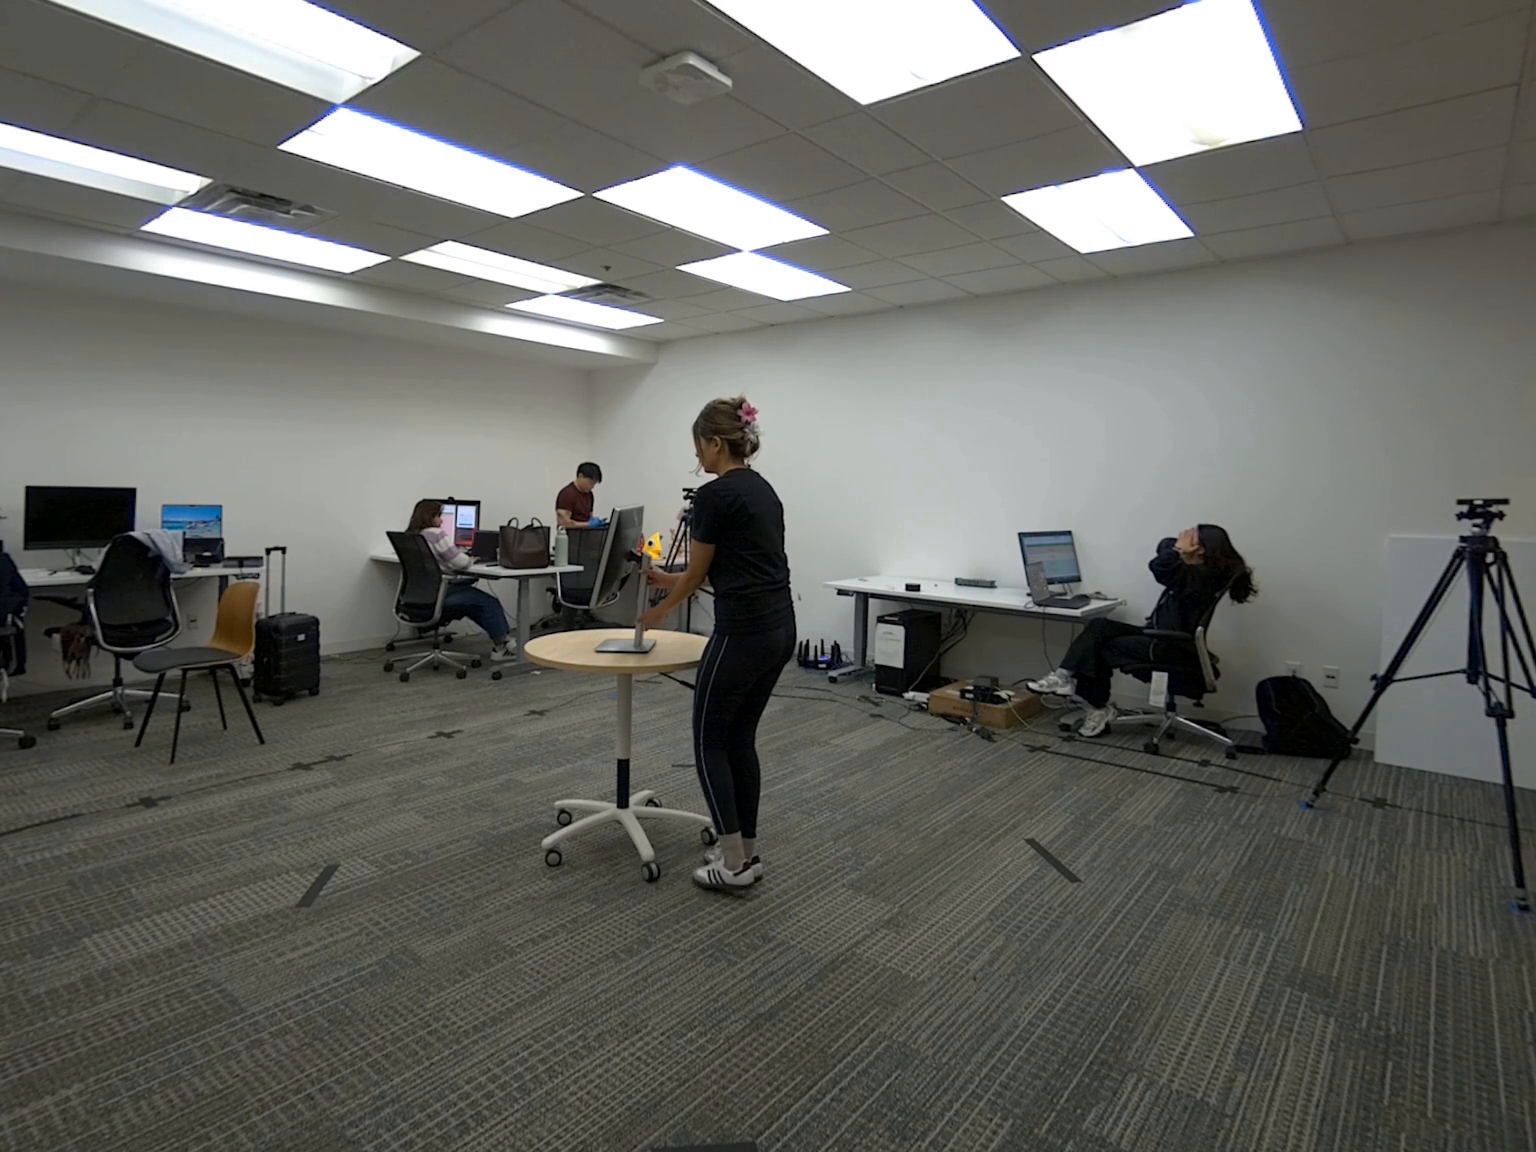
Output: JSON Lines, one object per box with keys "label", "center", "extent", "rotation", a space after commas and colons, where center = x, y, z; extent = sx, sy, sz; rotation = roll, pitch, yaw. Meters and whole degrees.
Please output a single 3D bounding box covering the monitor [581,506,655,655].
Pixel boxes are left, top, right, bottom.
{"label": "monitor", "center": [-0.546, 0.010, 3.249], "extent": [0.187, 0.520, 0.541], "rotation": [1, 5, -1]}
